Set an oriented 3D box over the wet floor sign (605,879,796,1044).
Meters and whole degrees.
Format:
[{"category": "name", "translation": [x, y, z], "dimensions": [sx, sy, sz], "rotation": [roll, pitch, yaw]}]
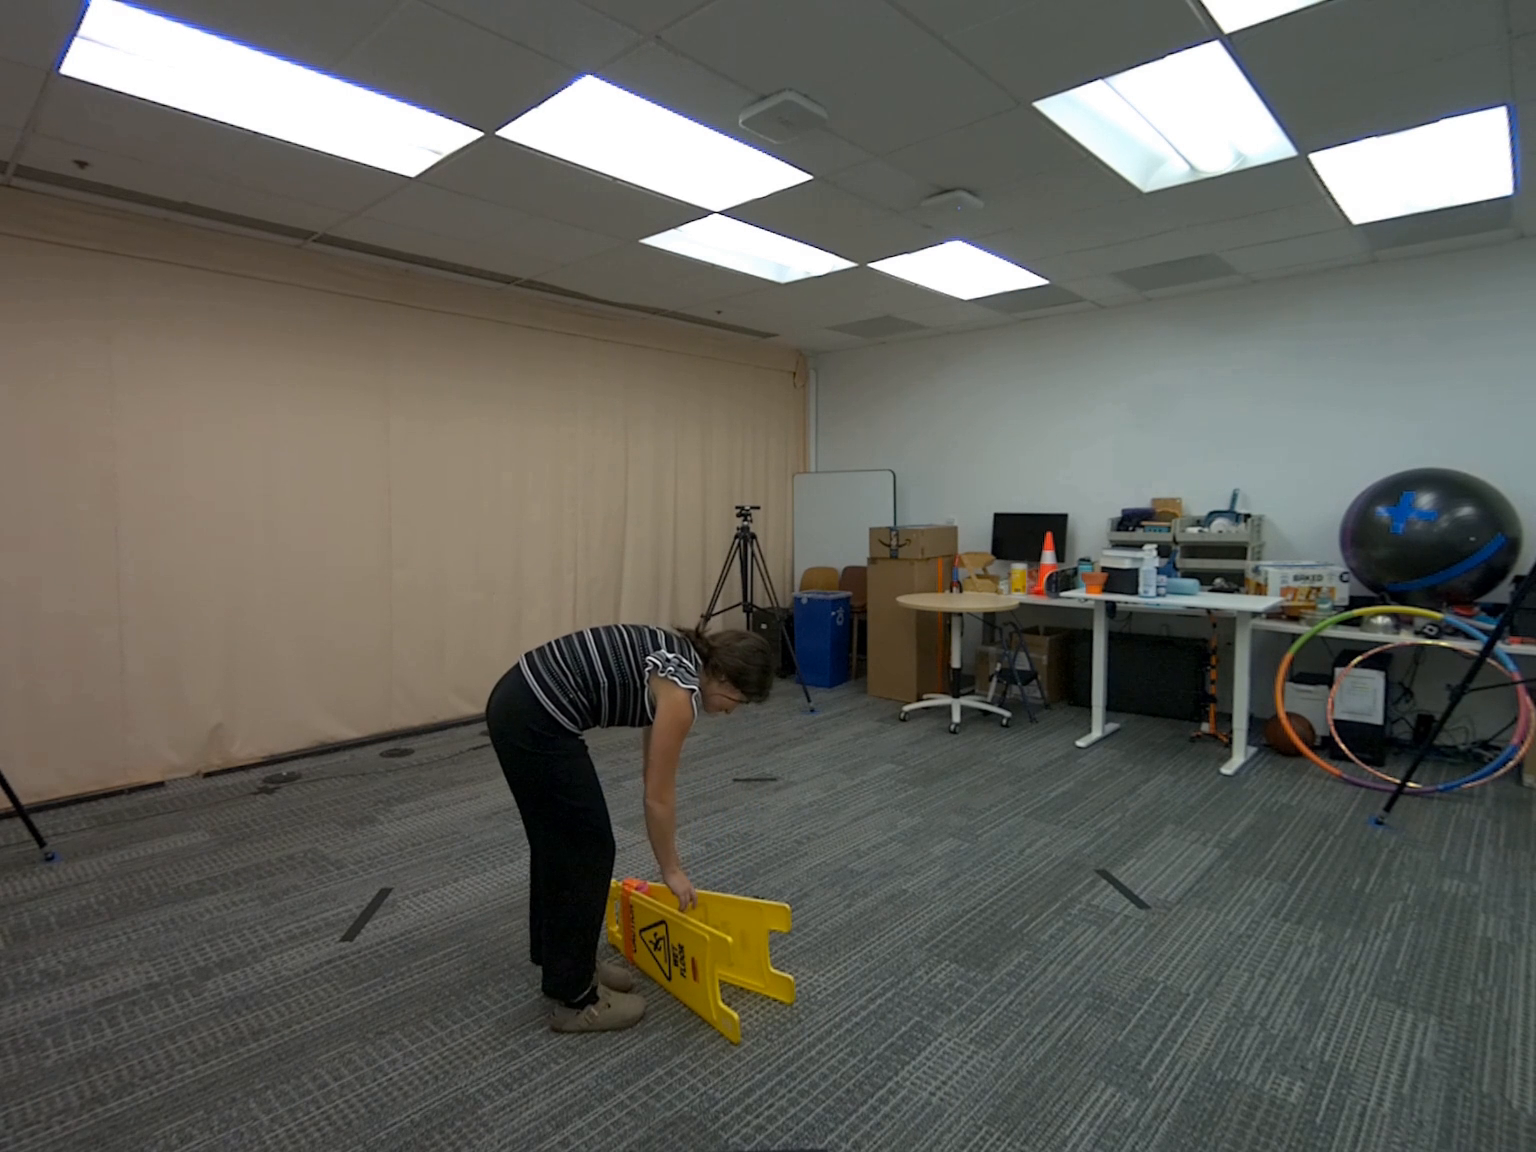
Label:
[{"category": "wet floor sign", "translation": [-0.262, 1.064, 2.467], "dimensions": [0.667, 0.282, 0.281], "rotation": [-1, 3, 41]}]
